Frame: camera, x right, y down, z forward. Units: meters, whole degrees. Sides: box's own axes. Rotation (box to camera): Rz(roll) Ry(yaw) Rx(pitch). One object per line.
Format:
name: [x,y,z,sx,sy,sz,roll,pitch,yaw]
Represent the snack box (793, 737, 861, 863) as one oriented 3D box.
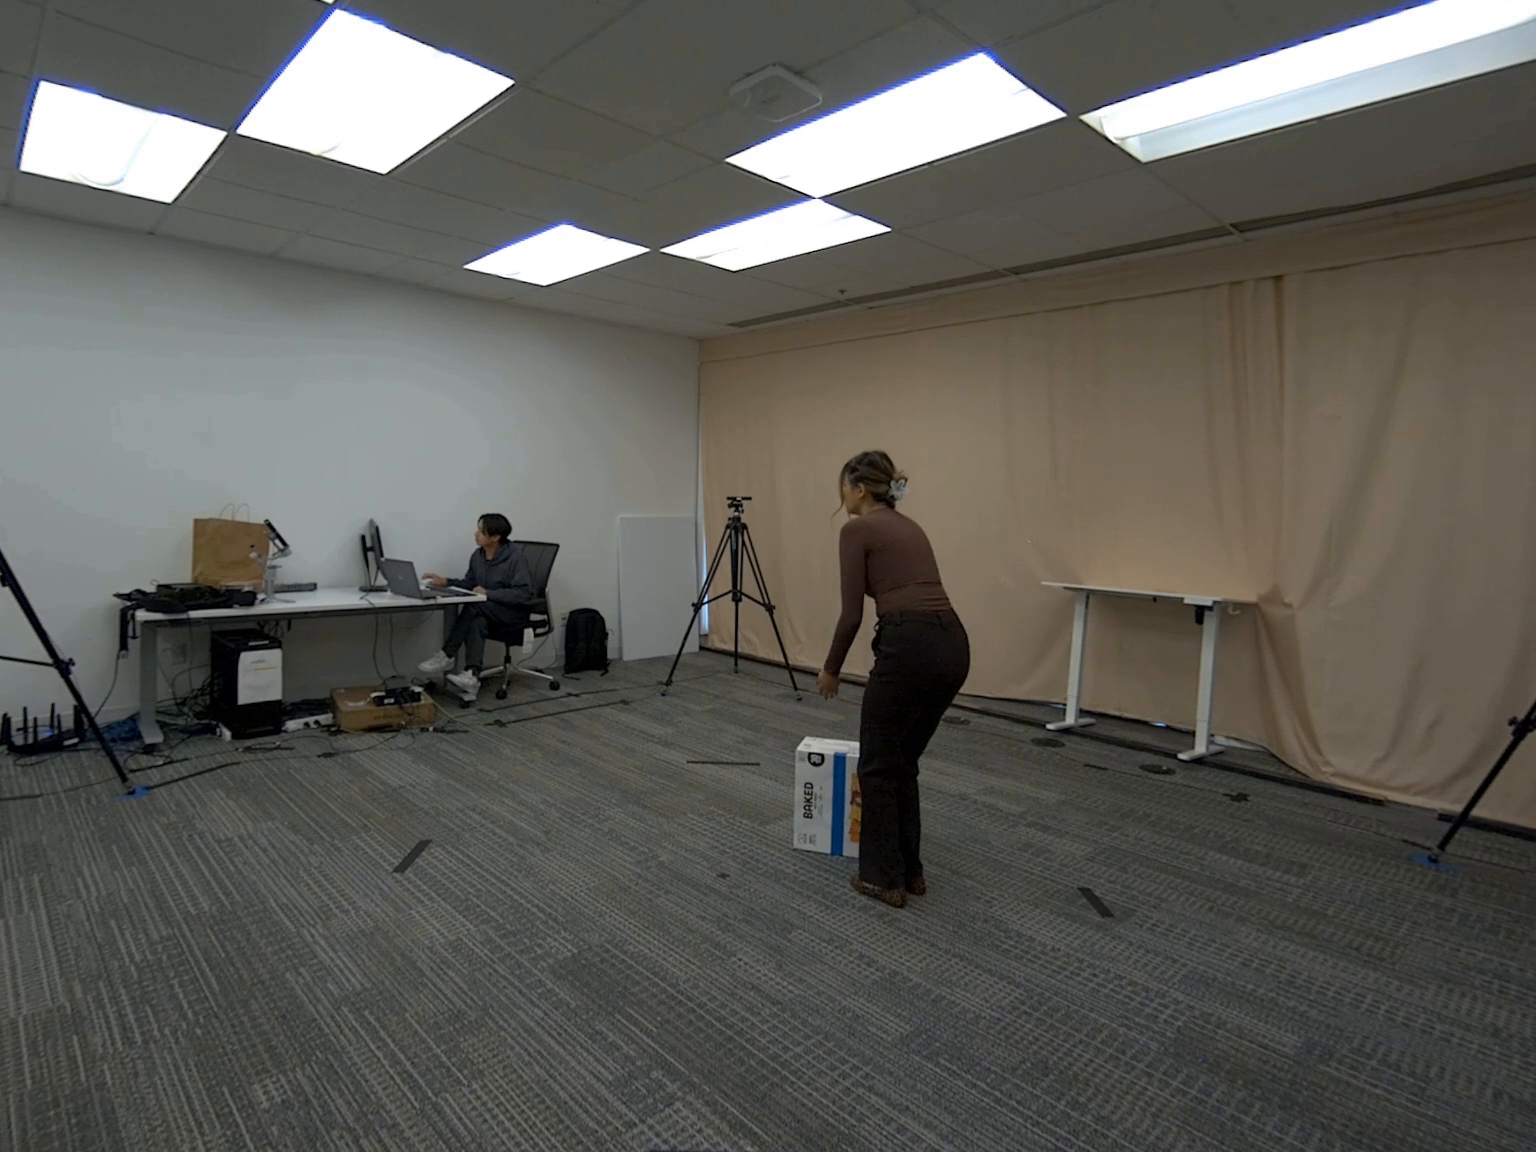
snack box: [0.293,0.891,3.393,0.345,0.404,0.203,3,3,16]
